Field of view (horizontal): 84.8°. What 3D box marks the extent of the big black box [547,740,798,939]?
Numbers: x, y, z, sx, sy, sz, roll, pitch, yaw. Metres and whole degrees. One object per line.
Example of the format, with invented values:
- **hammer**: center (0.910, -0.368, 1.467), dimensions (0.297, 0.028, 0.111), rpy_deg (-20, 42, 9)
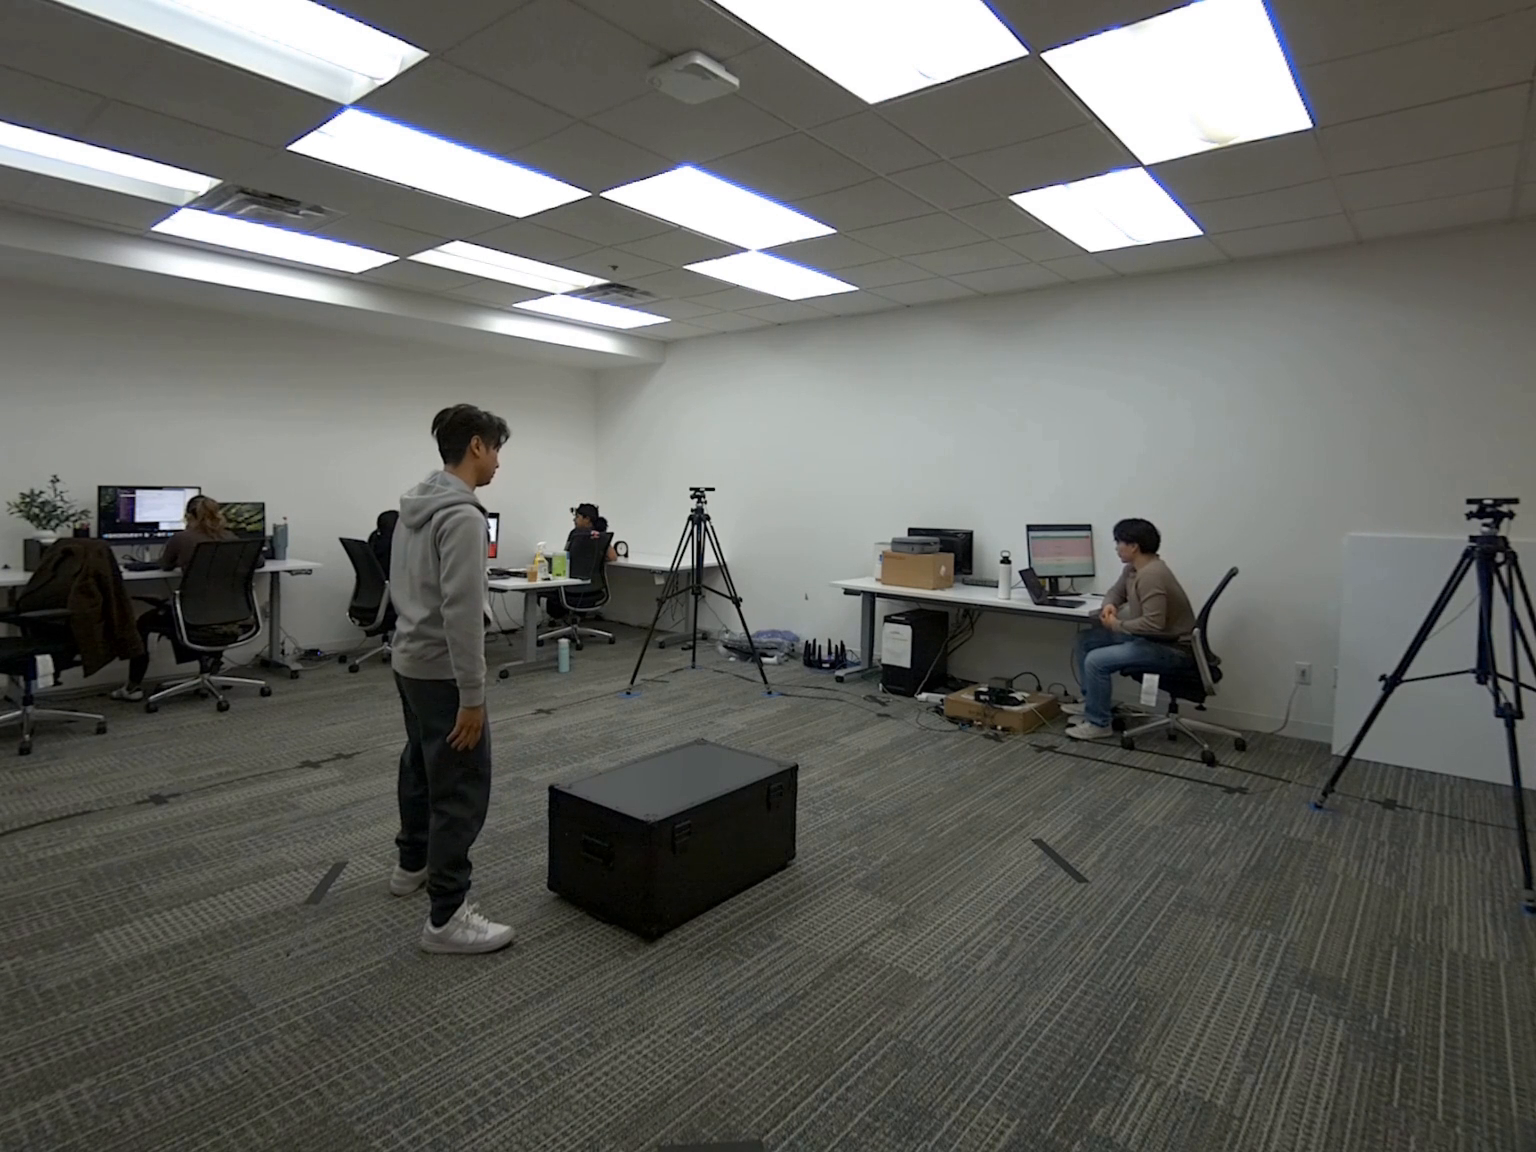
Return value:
- **big black box**: center (-0.304, 0.882, 3.028), dimensions (0.538, 0.395, 0.837), rpy_deg (4, 7, 37)
